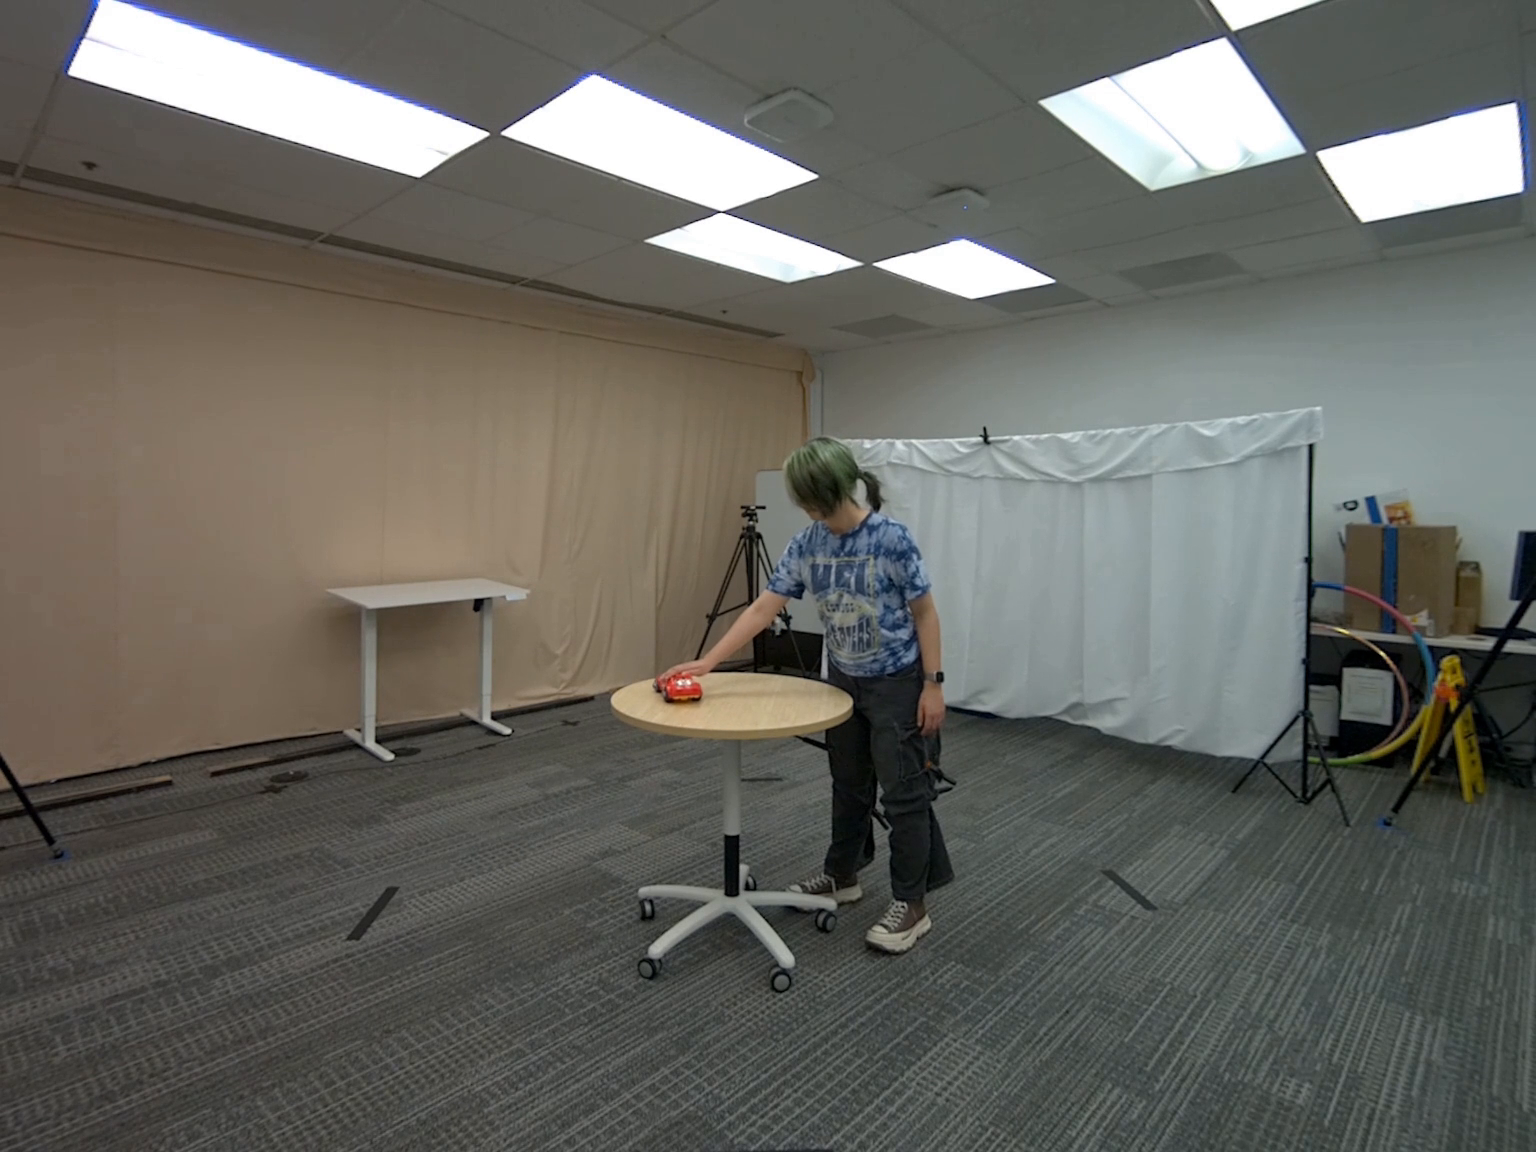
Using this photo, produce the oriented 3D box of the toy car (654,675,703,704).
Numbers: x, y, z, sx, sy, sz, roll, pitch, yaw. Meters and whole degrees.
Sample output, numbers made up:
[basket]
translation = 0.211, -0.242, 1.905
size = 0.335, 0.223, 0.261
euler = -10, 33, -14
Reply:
[toy car]
translation = -0.279, 0.360, 2.660
size = 0.128, 0.083, 0.257
euler = -2, -6, -17
